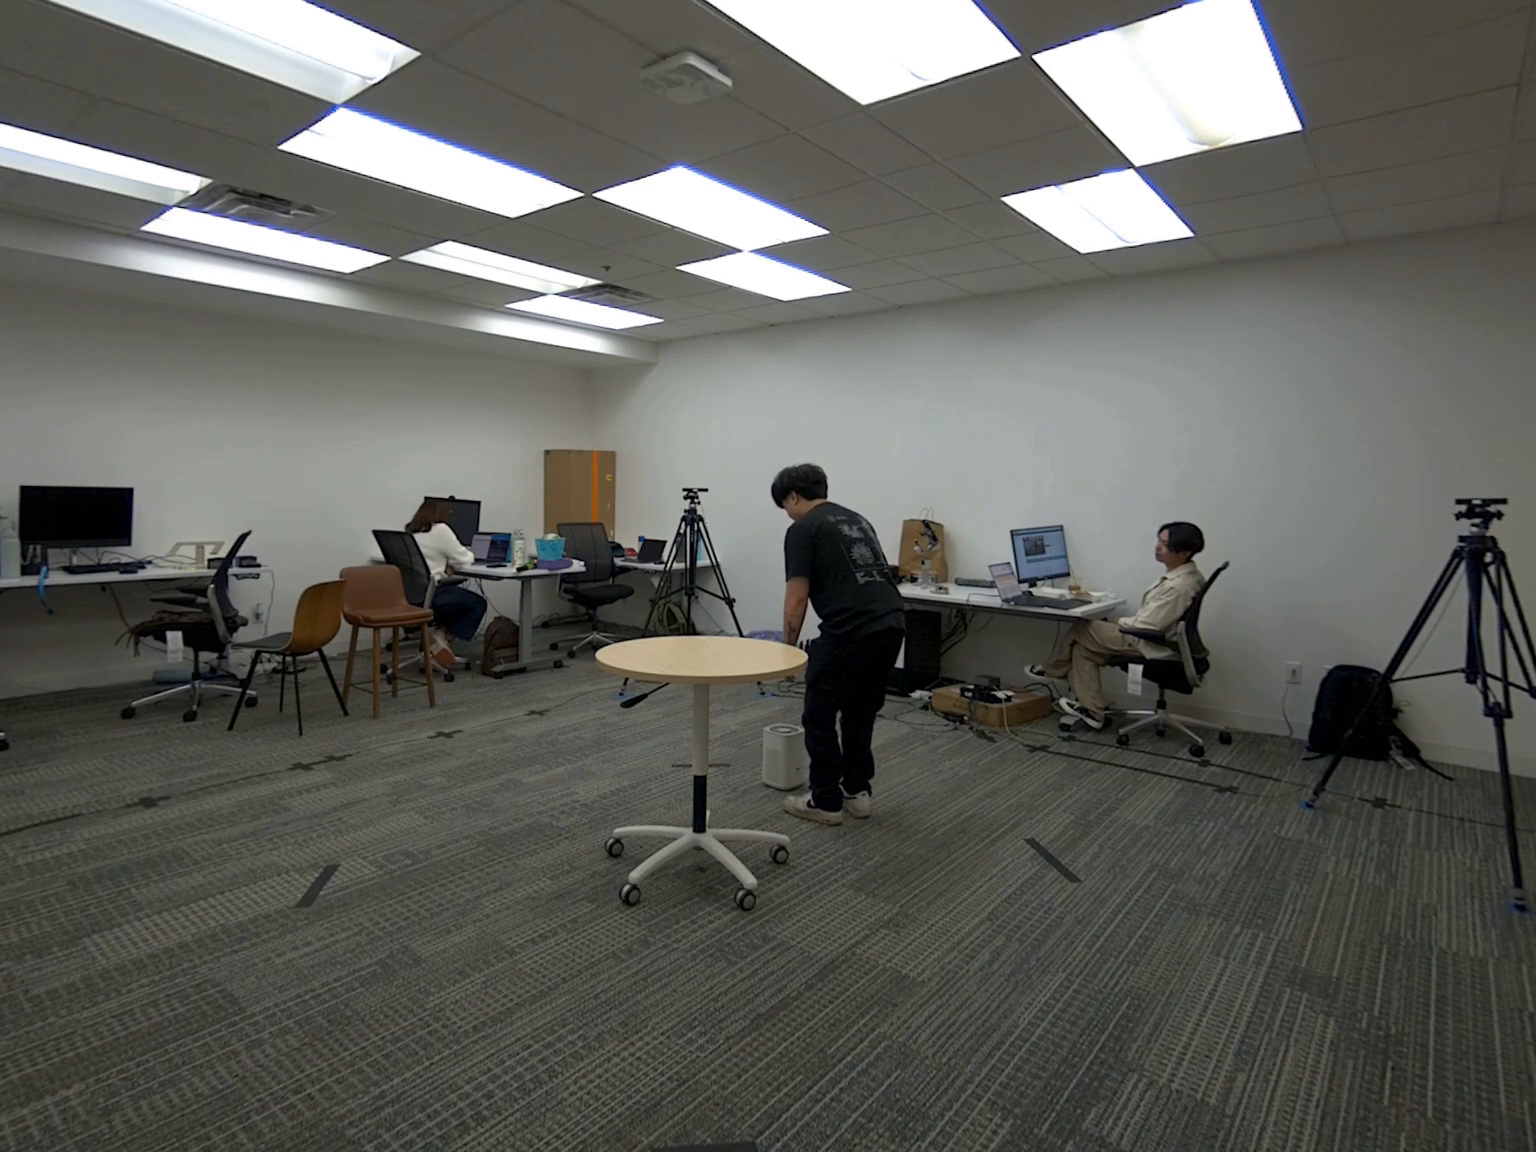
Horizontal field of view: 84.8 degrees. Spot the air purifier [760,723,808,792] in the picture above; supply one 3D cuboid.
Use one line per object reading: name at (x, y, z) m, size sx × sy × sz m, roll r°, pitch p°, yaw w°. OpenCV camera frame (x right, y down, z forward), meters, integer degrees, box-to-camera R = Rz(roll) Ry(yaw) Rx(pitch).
air purifier at (0.067, 0.851, 4.026) m, size 0.177 × 0.264 × 0.166 m, roll 4°, pitch 4°, yaw 40°
